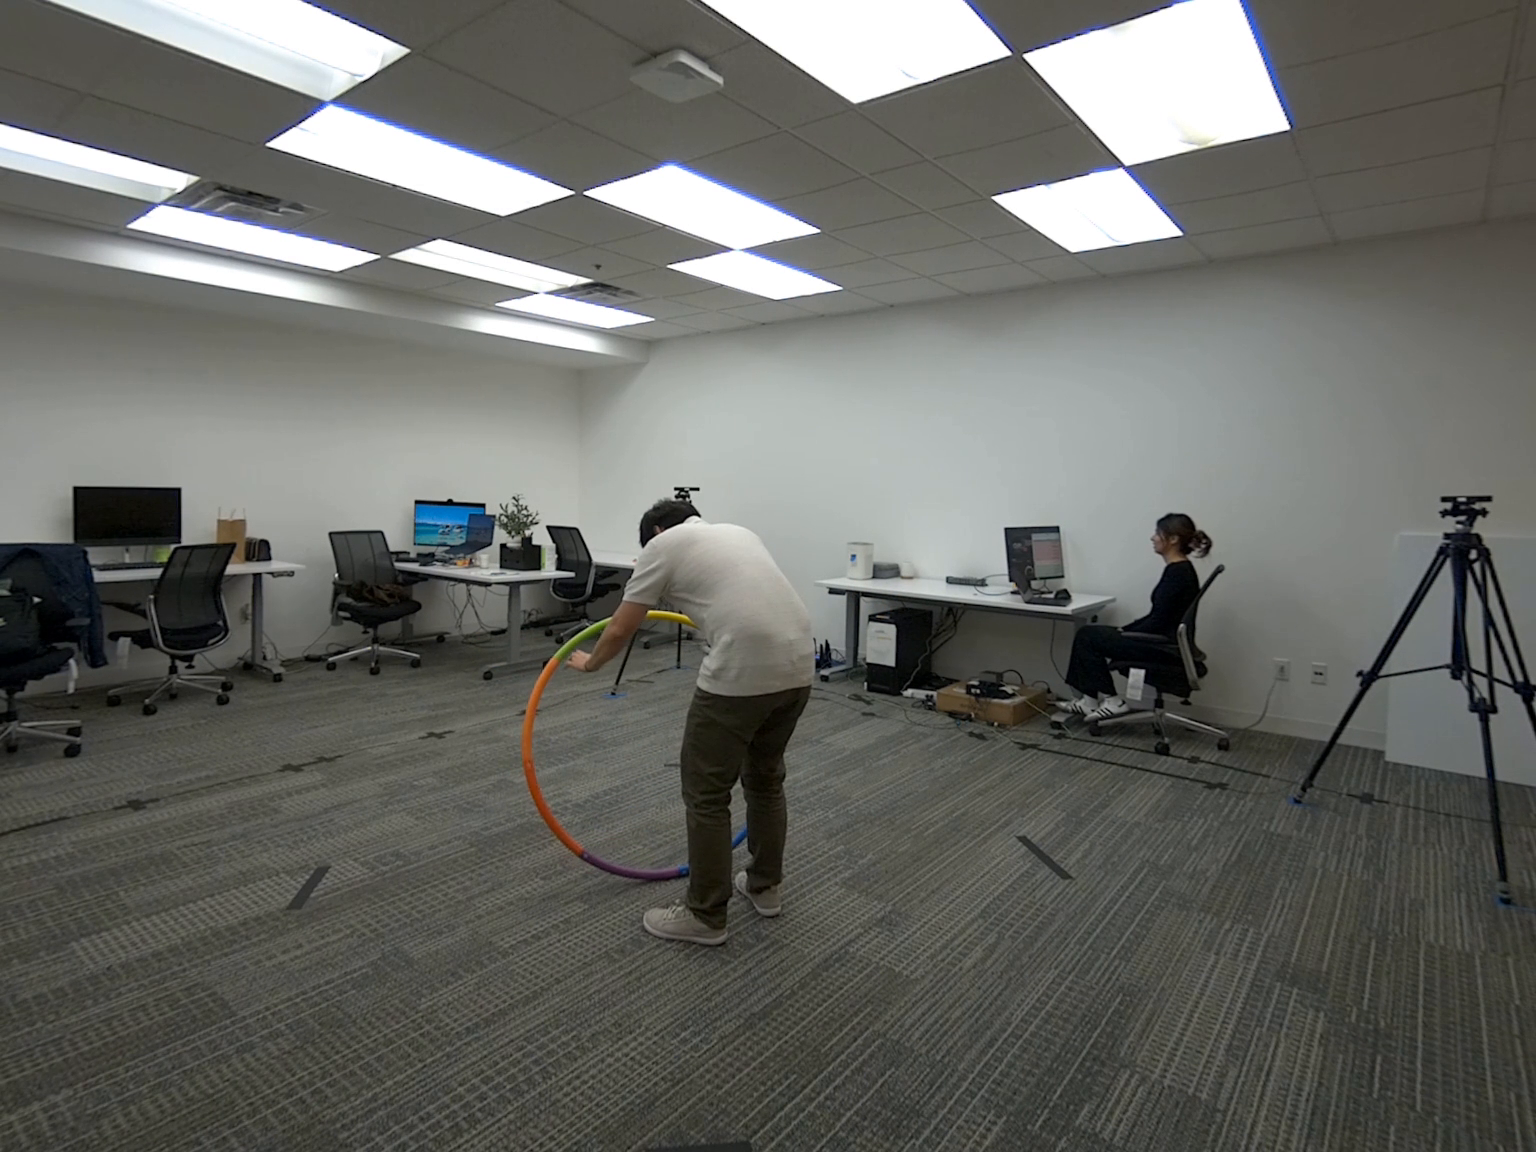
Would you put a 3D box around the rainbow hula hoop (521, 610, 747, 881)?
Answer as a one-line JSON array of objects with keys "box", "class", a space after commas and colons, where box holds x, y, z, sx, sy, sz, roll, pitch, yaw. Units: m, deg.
[{"box": [-0.418, 0.610, 3.164, 0.956, 0.997, 0.035, -2, -19, -23], "class": "rainbow hula hoop"}]
